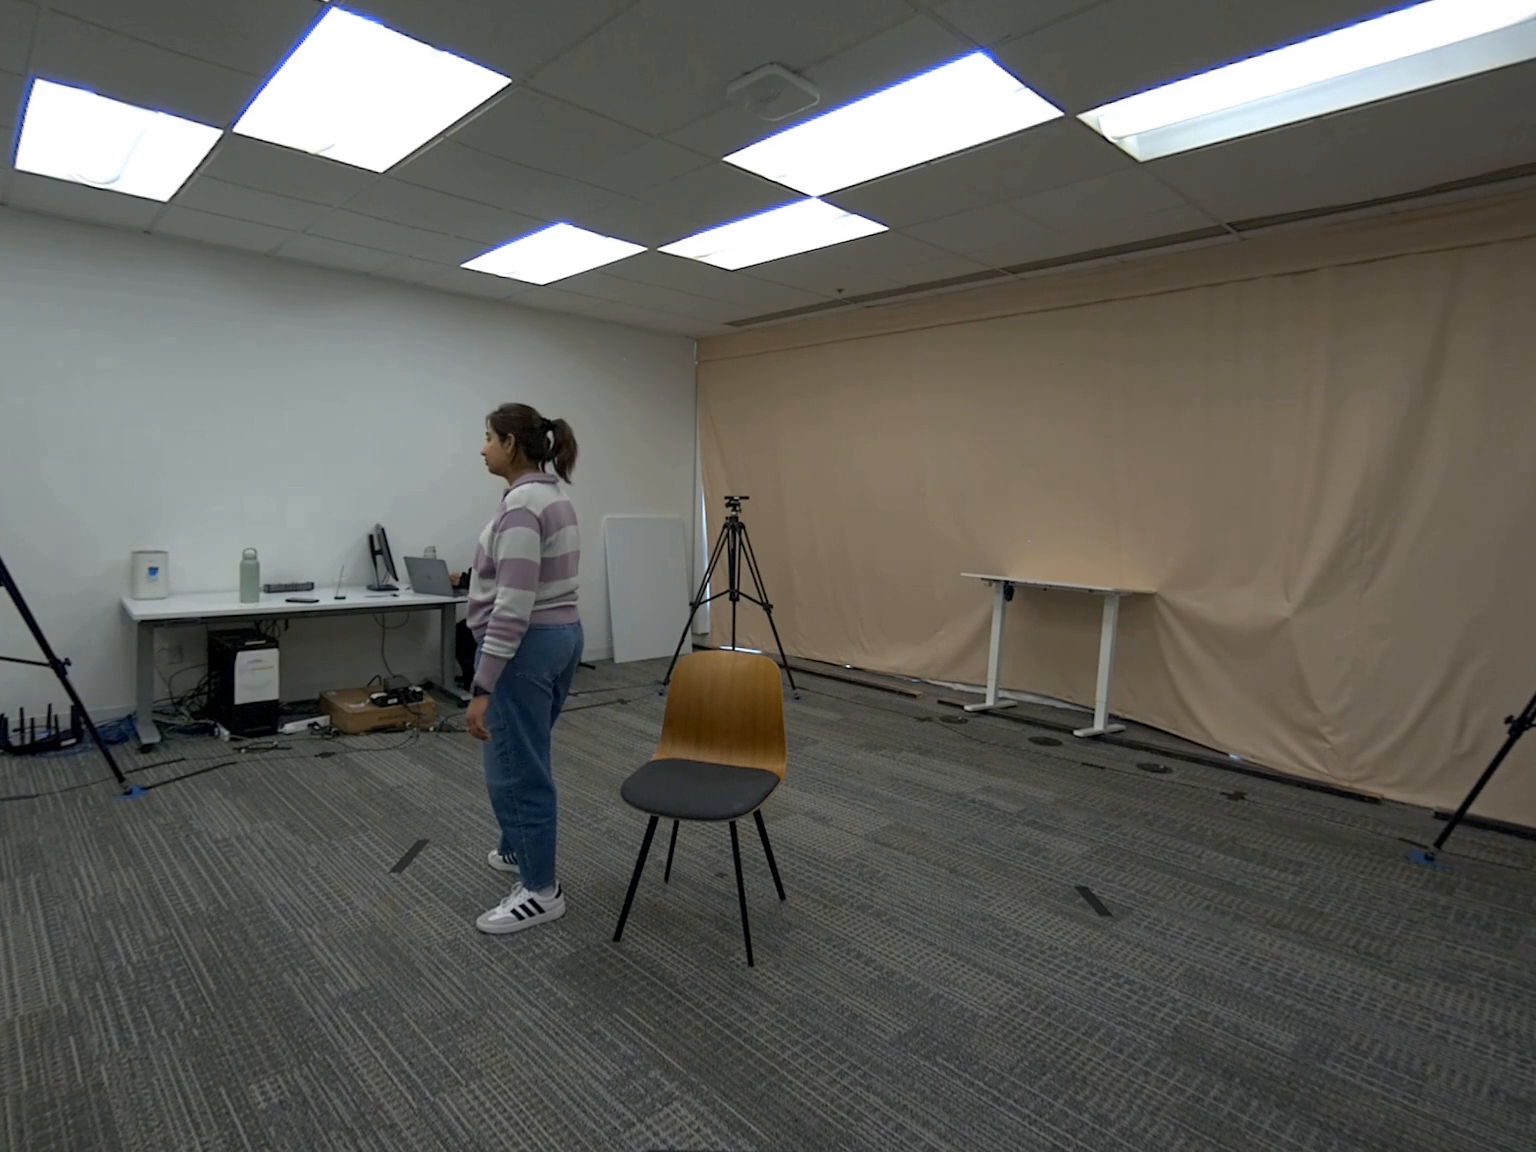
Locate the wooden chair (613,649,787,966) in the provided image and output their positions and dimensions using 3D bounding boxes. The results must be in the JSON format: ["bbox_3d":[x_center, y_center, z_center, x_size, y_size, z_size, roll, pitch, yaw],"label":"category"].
[{"bbox_3d":[-0.207,0.710,2.731,0.484,0.877,0.516,2,0,15],"label":"wooden chair"}]
